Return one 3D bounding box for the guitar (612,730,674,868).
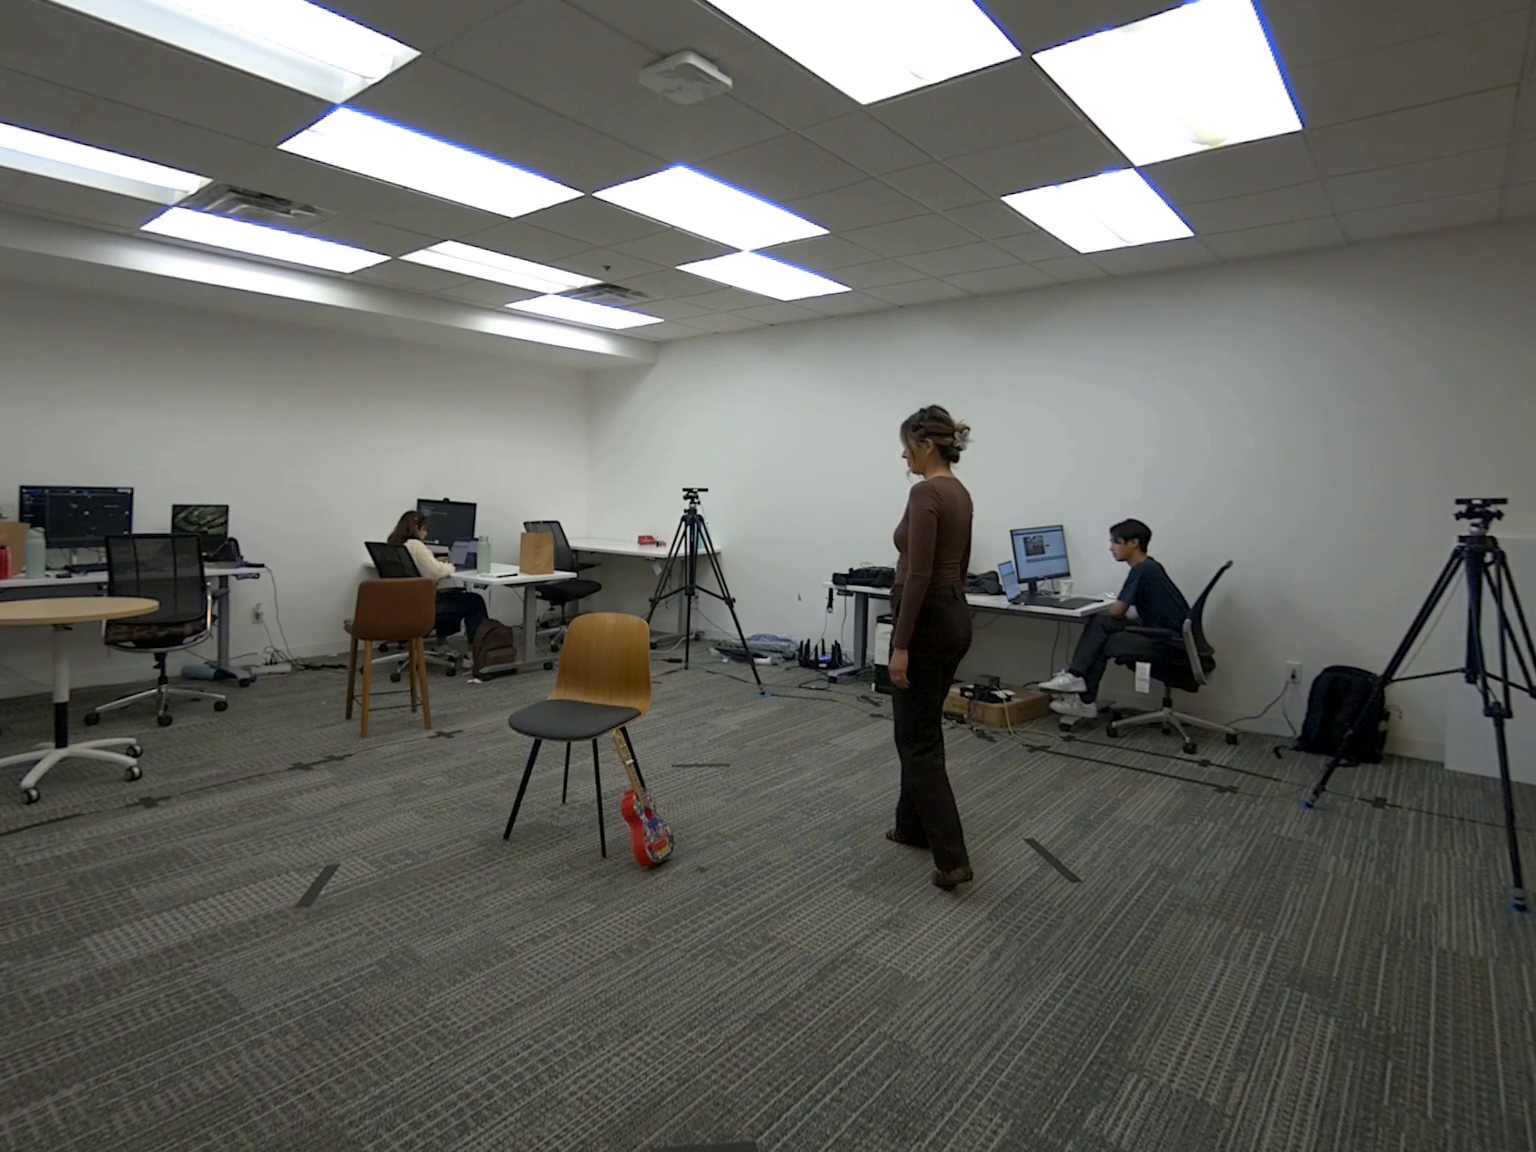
[{"bbox_3d":[-0.491,0.829,3.205,0.071,0.507,0.187,-27,-15,23],"label":"guitar"}]
